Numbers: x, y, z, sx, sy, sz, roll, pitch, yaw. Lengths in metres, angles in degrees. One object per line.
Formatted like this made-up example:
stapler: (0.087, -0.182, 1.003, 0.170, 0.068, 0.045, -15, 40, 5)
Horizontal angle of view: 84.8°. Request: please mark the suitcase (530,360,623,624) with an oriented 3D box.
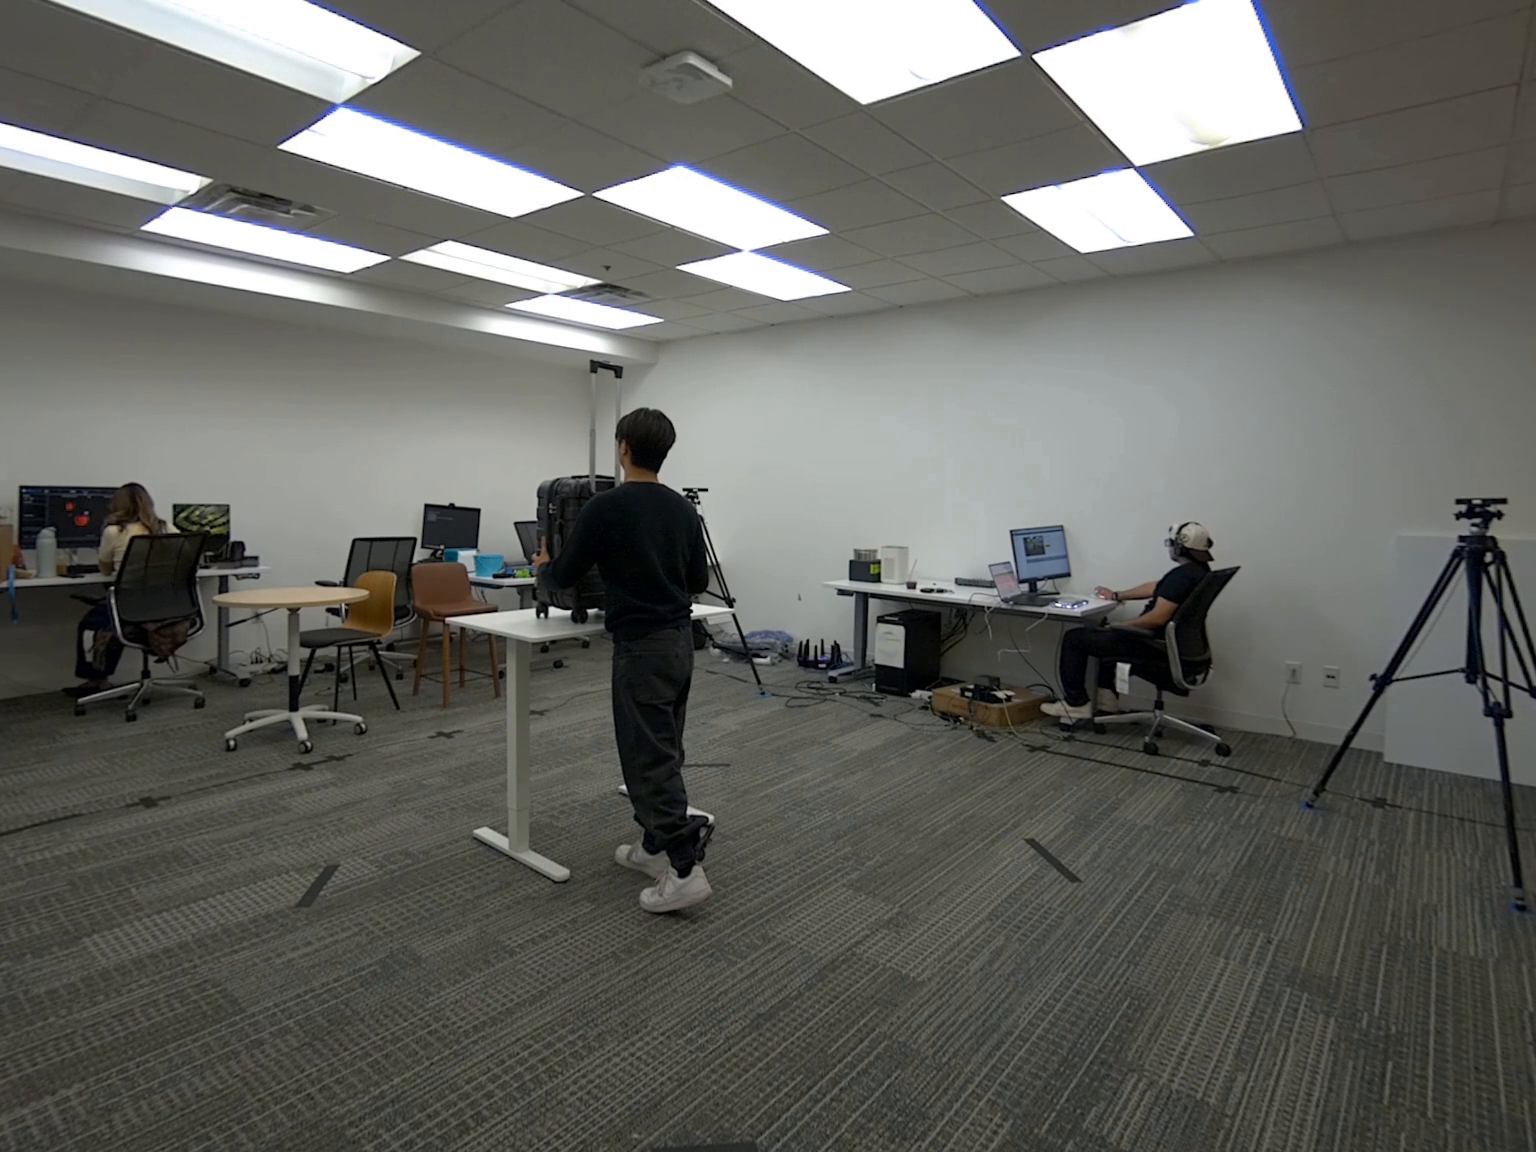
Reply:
suitcase: (-0.725, -0.326, 3.308, 0.265, 0.977, 0.372, 0, 2, 39)
